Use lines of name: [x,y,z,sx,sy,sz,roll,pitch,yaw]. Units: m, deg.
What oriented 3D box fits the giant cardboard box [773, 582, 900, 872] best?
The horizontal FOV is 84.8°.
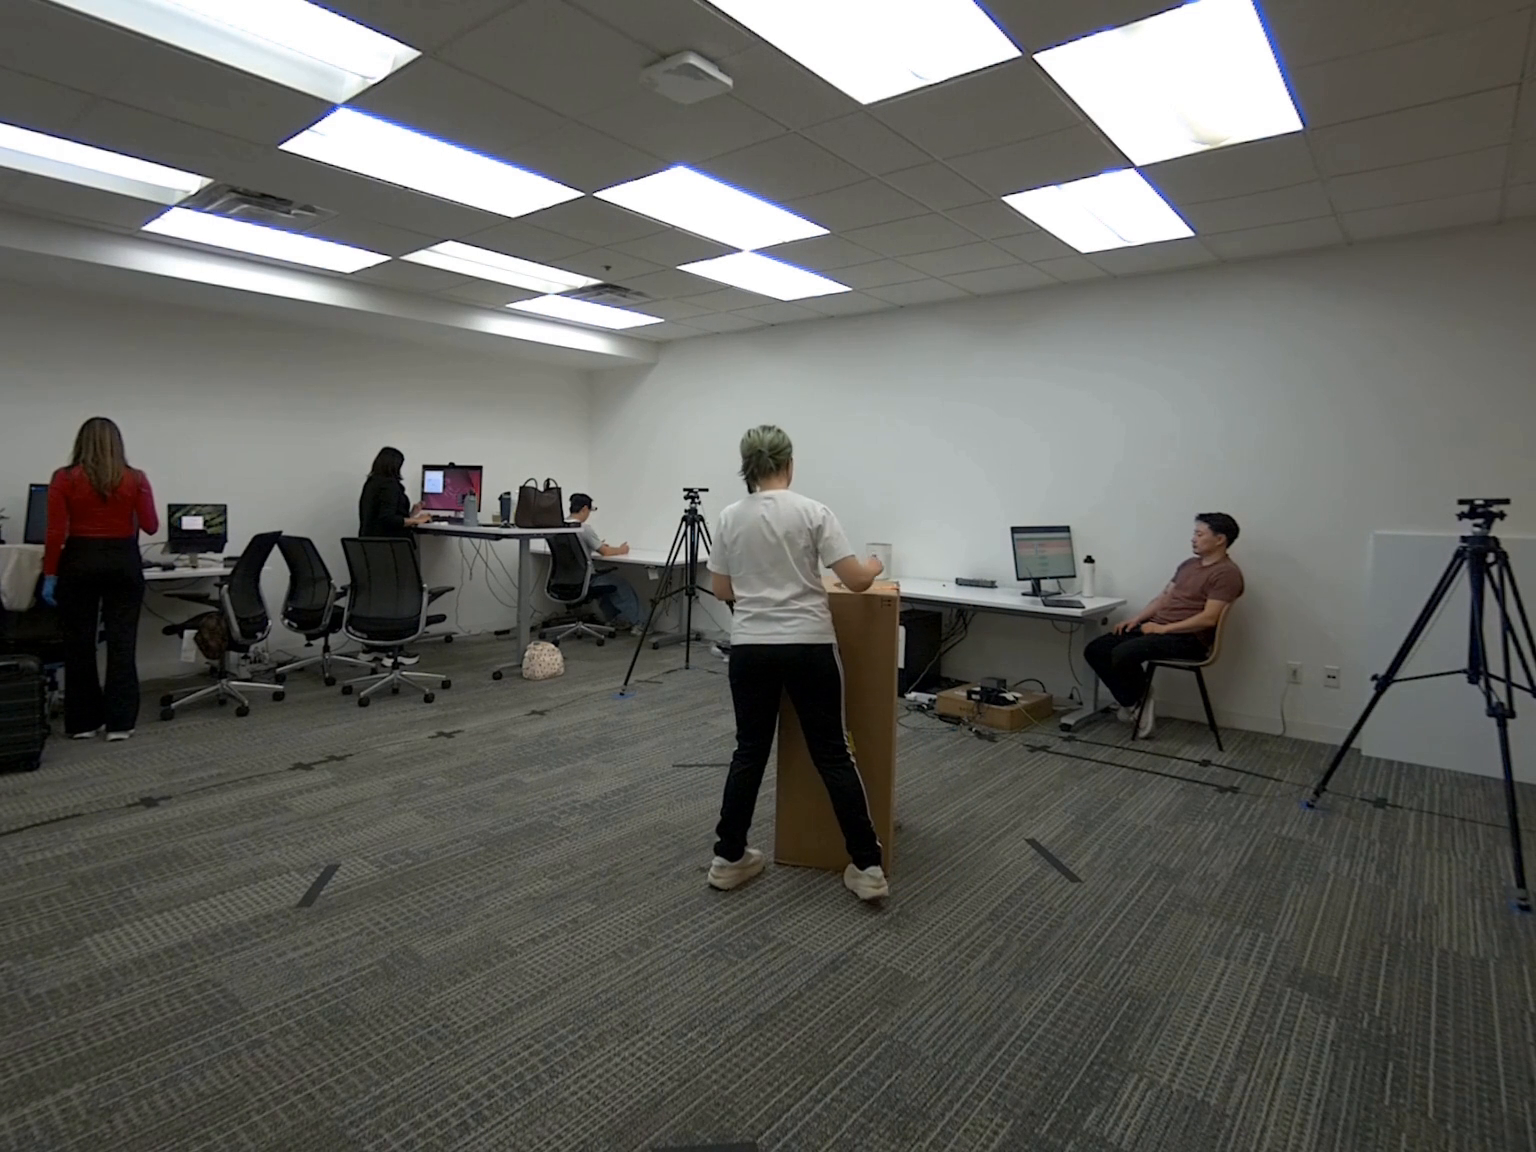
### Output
giant cardboard box: [0.277,0.545,3.382,0.452,1.024,0.579,1,3,8]
